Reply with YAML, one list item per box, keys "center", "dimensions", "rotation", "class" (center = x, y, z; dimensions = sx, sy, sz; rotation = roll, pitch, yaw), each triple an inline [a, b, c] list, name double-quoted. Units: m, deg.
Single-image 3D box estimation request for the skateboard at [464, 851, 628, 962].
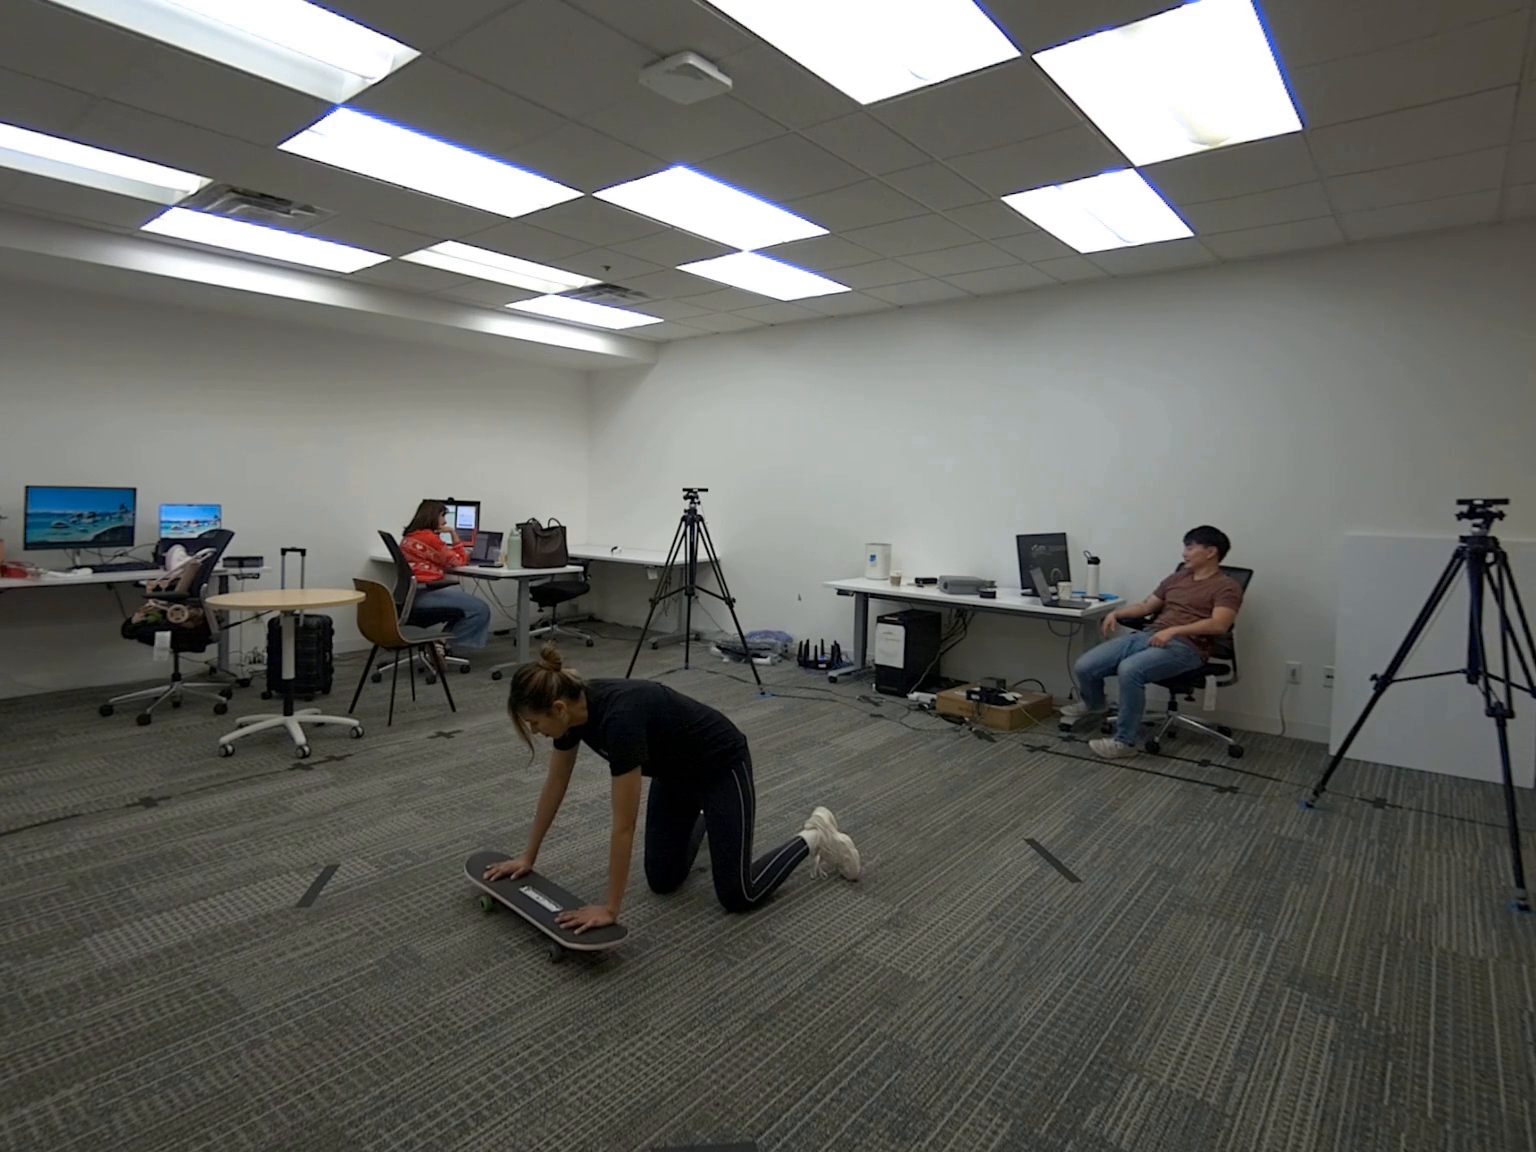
- center: [-0.731, 1.045, 2.686]
  dimensions: [0.812, 0.110, 0.187]
  rotation: [6, 4, 44]
  class: "skateboard"
